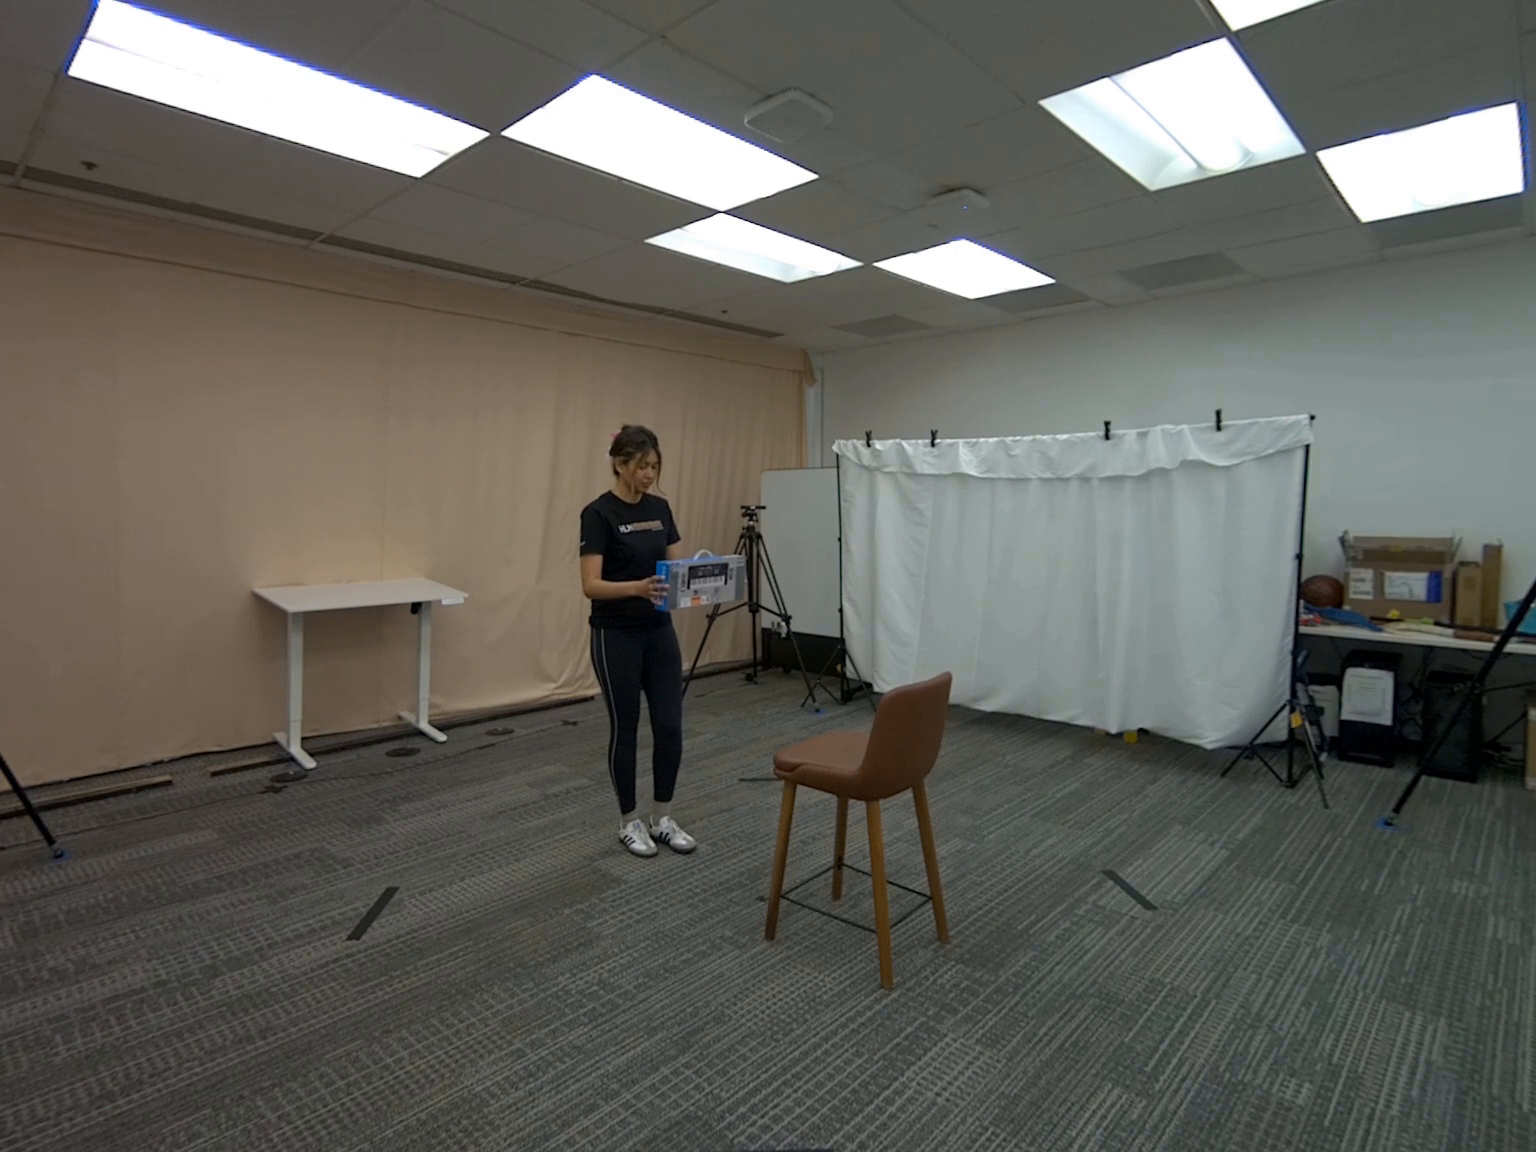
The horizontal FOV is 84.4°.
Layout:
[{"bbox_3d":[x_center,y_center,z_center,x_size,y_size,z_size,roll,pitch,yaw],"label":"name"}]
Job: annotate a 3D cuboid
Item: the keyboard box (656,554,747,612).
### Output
[{"bbox_3d":[-0.241,0.021,3.144,0.061,0.175,0.424,9,9,38],"label":"keyboard box"}]
